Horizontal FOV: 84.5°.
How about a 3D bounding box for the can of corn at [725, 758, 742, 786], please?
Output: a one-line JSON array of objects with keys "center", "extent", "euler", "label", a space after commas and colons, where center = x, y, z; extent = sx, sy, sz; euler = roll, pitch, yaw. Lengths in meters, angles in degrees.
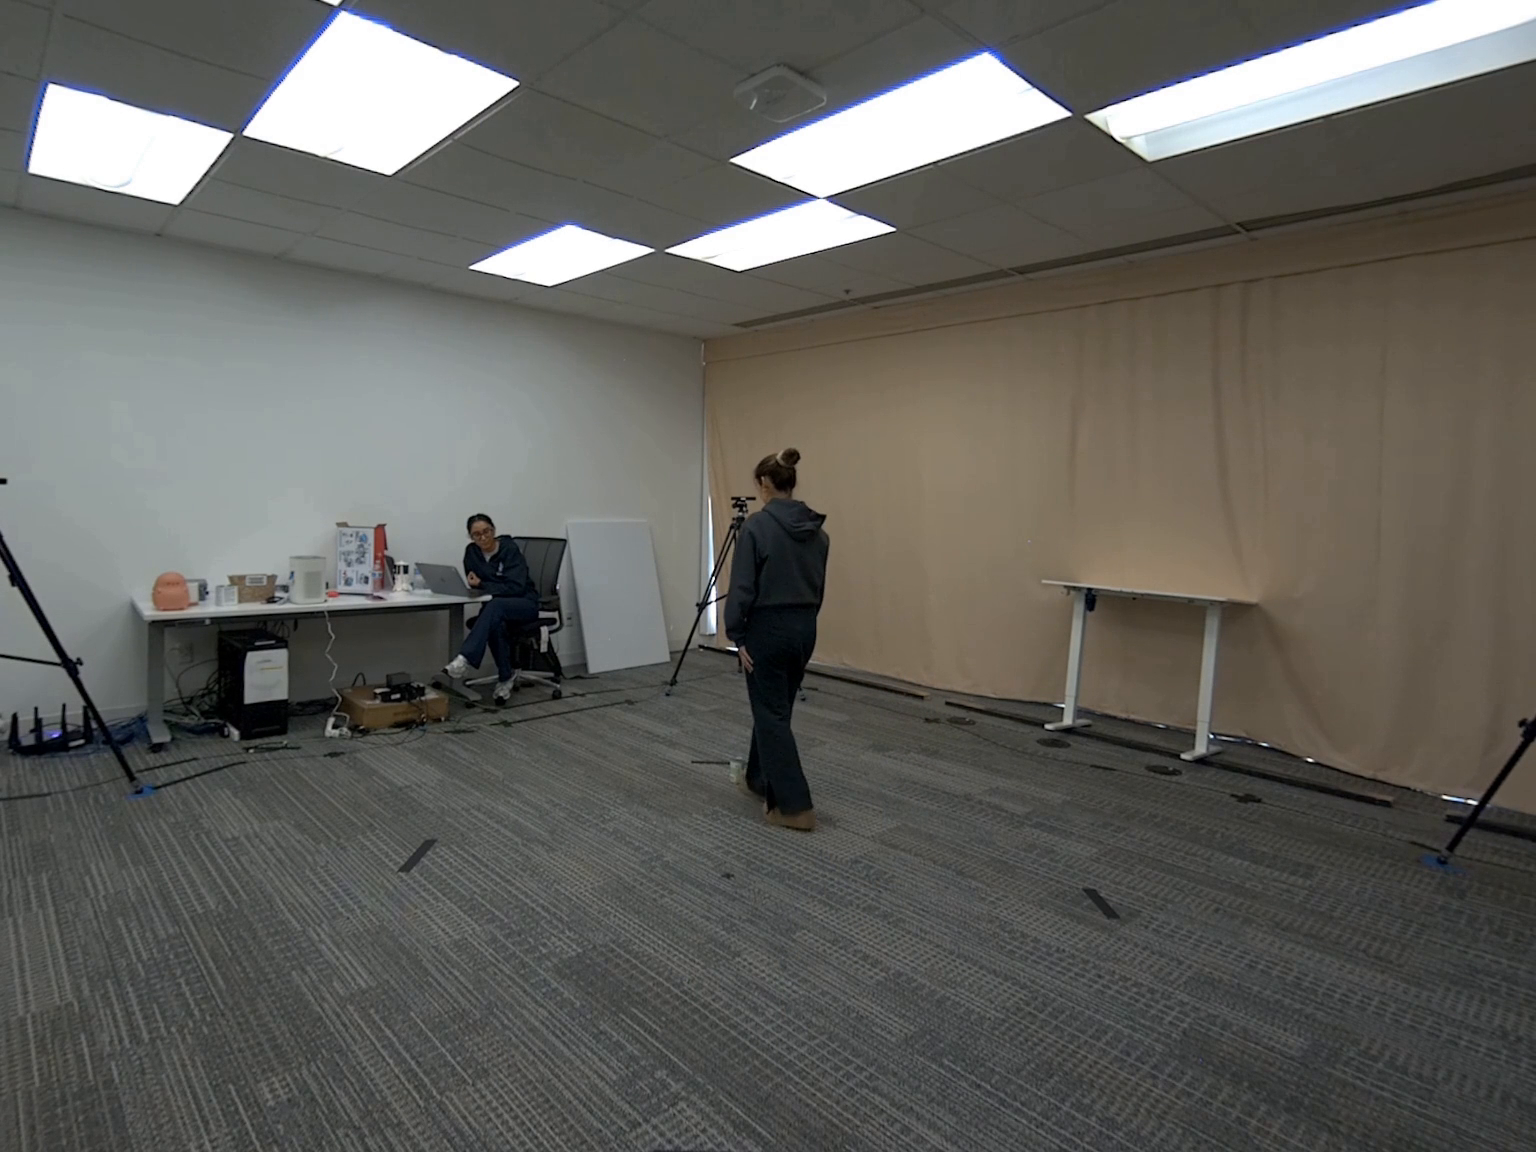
[{"center": [-0.172, 0.963, 4.173], "extent": [0.074, 0.110, 0.074], "euler": [1, 7, -2], "label": "can of corn"}]
